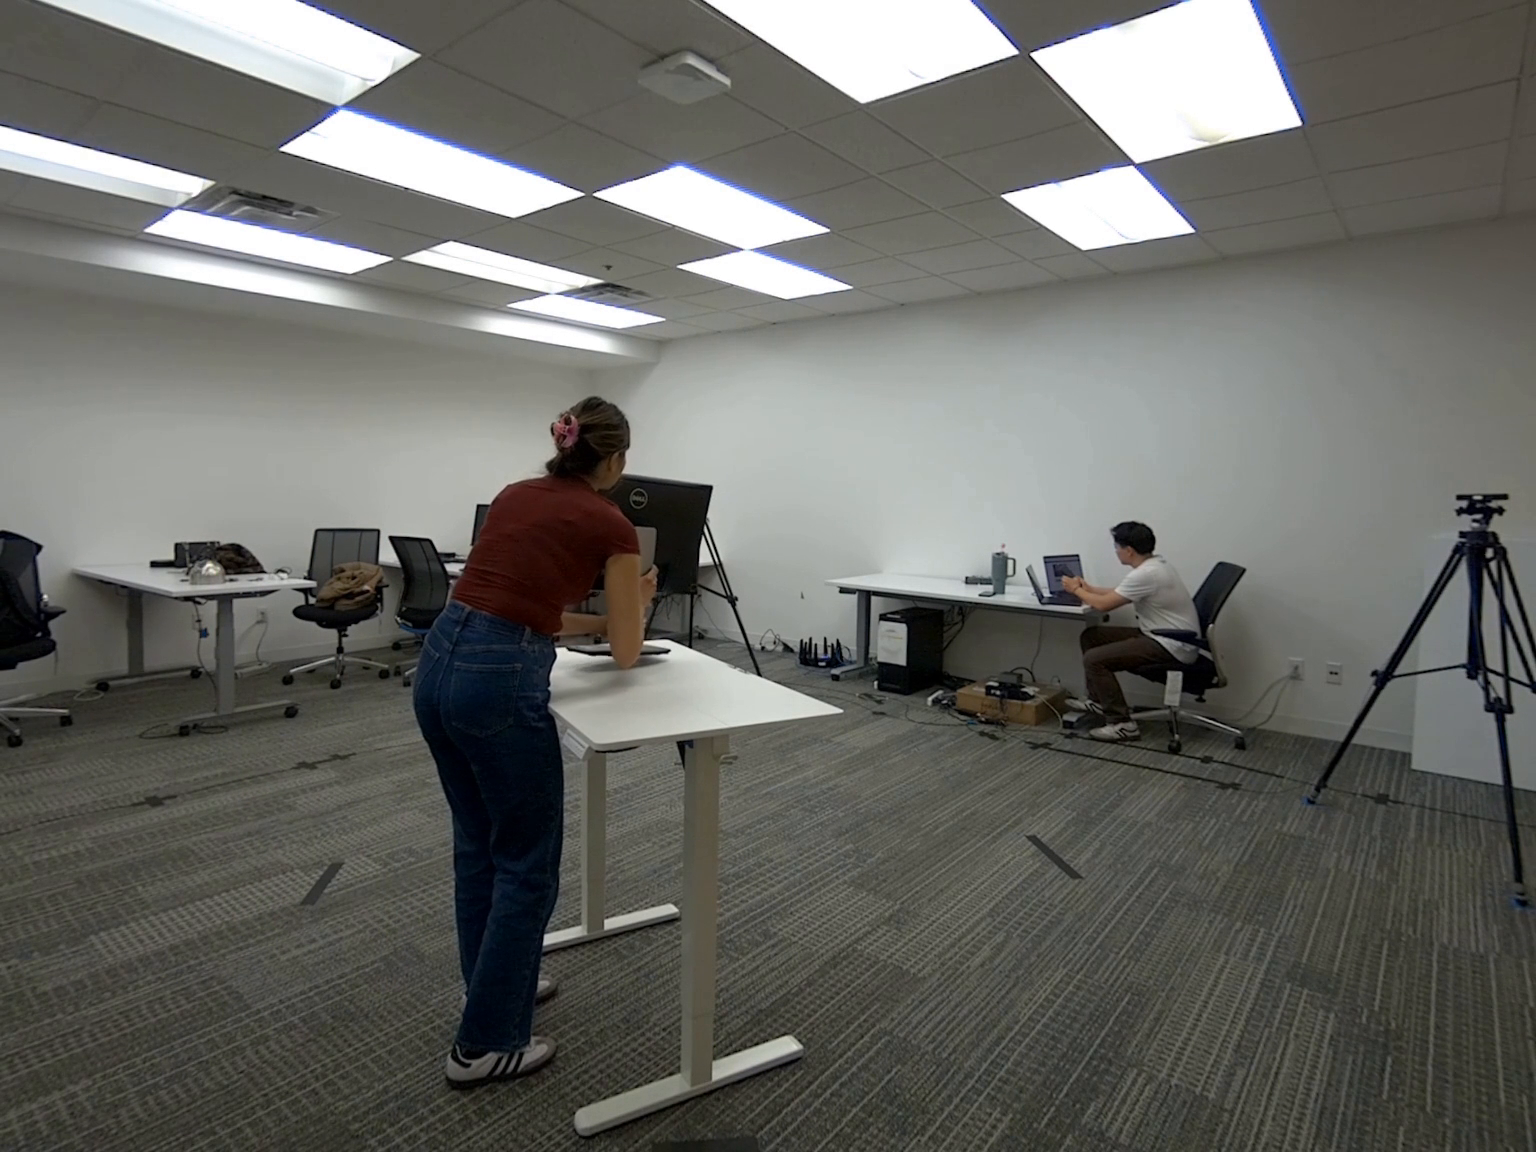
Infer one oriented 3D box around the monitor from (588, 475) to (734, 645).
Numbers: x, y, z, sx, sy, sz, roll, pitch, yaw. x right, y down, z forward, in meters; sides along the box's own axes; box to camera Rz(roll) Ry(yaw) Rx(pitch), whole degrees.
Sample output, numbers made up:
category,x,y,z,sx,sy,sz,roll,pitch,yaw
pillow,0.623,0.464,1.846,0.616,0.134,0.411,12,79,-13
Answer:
category,x,y,z,sx,sy,sz,roll,pitch,yaw
monitor,-0.413,-0.033,2.450,0.521,0.523,0.193,4,-1,-38
